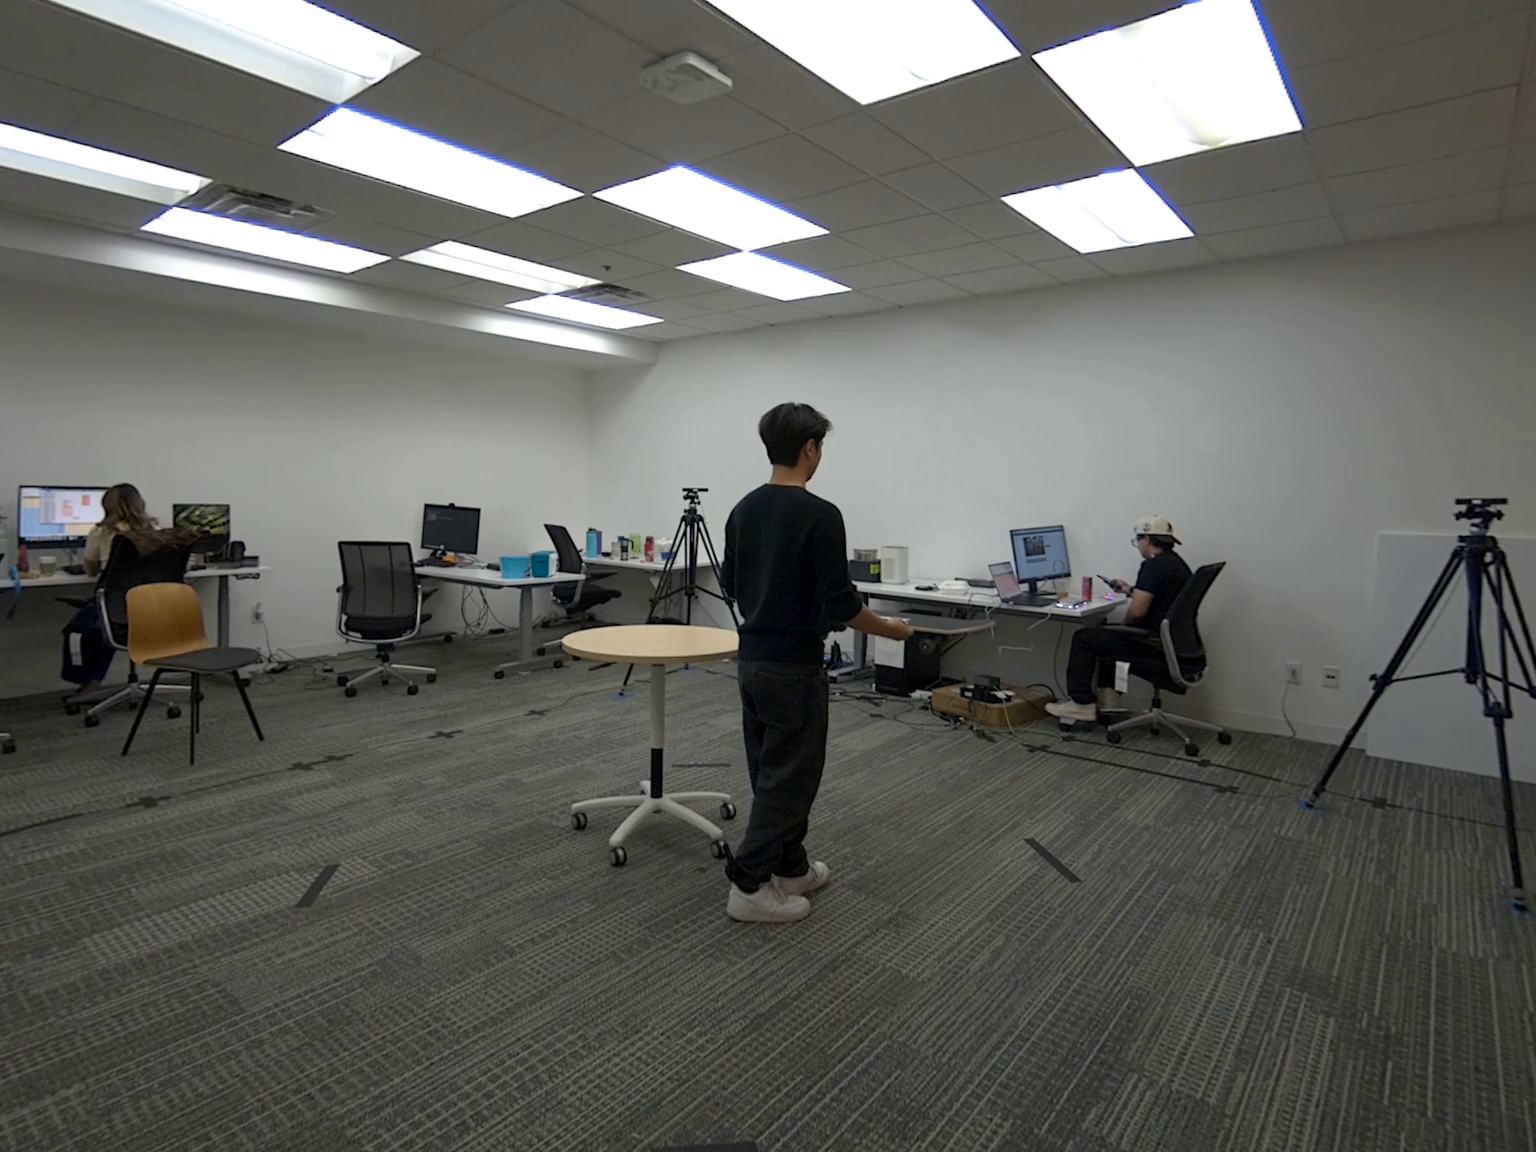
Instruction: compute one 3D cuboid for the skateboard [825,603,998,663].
[{"bbox_3d":[0.389,0.179,2.987,0.810,0.109,0.189,4,12,33],"label":"skateboard"}]
